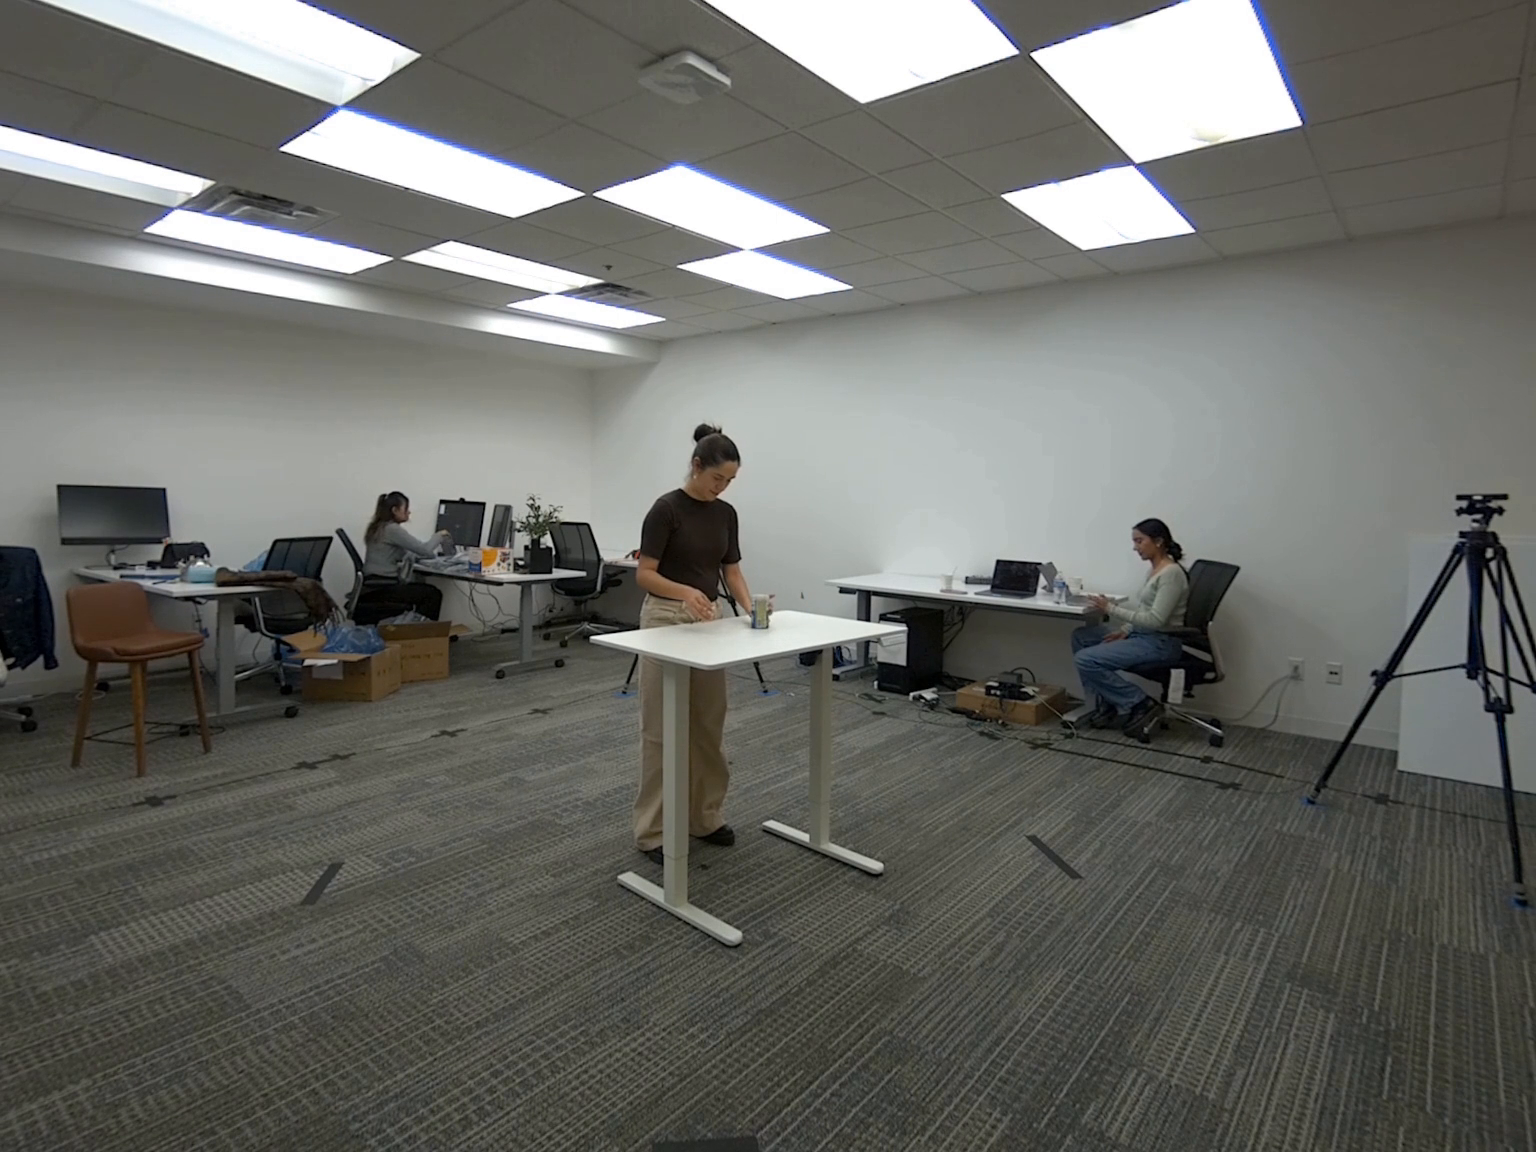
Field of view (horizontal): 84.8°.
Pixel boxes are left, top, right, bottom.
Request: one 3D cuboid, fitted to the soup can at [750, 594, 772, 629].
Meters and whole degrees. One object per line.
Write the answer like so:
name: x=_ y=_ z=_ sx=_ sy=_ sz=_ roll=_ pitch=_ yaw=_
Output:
soup can: x=-0.035 y=0.128 z=3.090 sx=0.067 sy=0.121 sz=0.067 roll=3 pitch=2 yaw=-2
